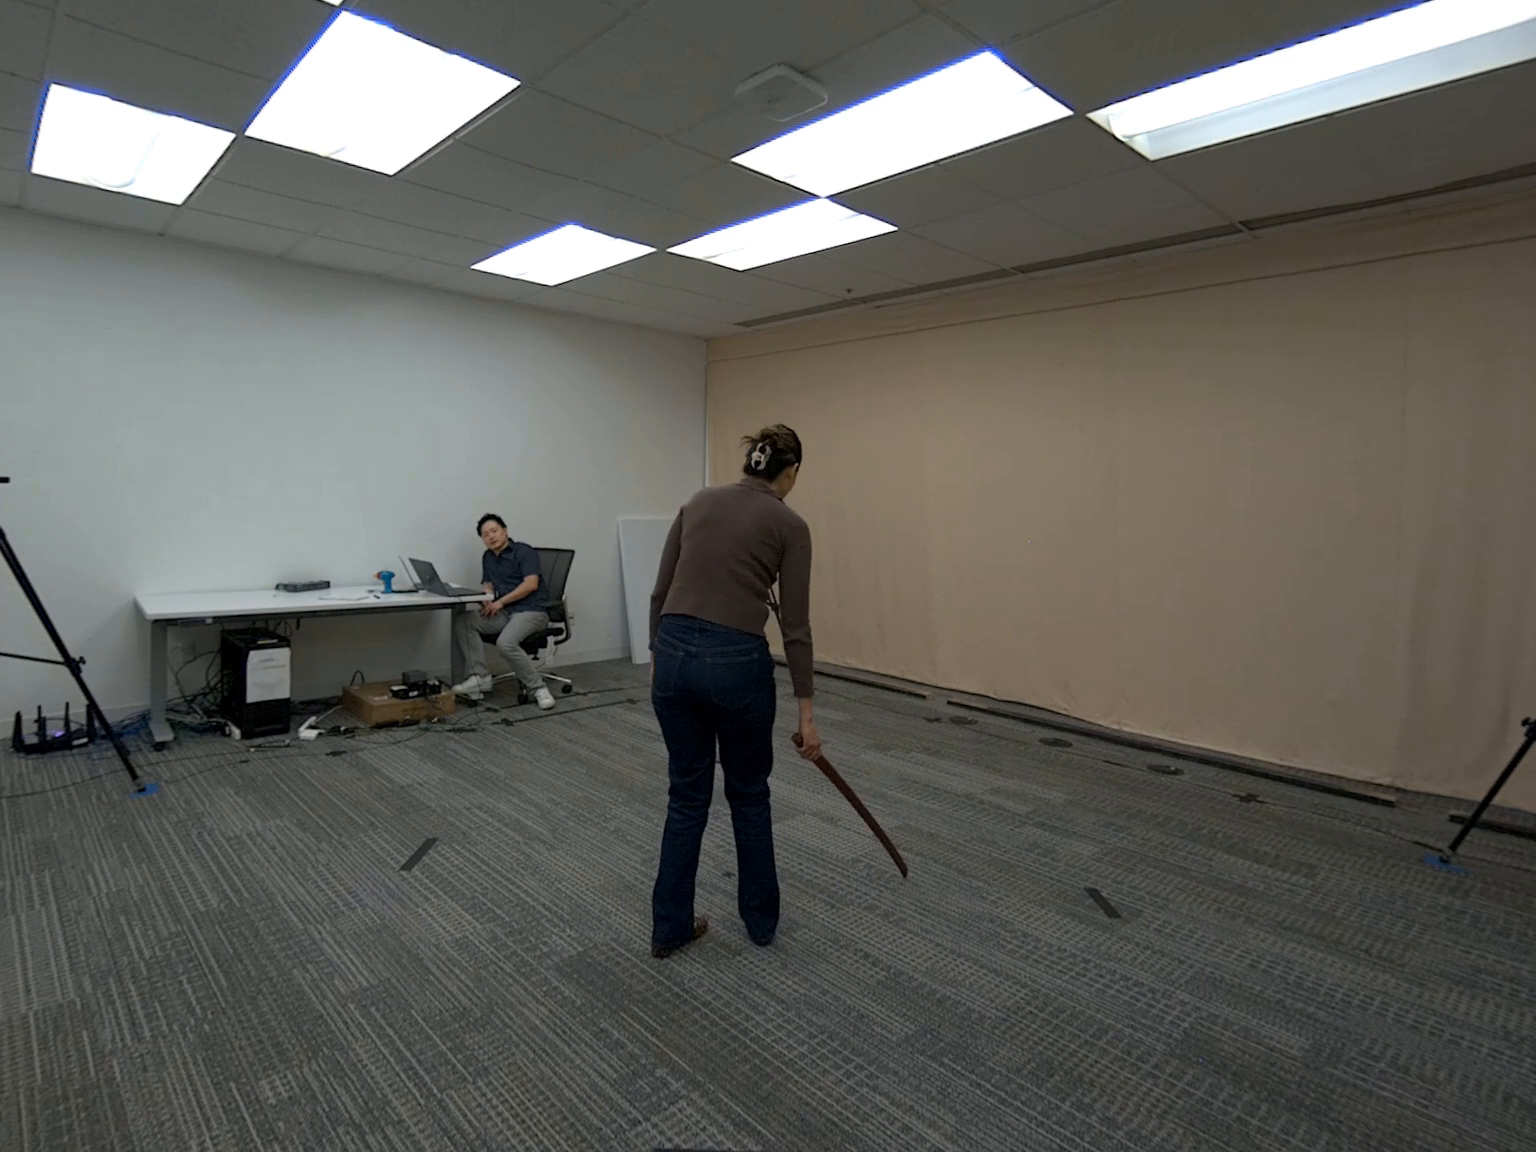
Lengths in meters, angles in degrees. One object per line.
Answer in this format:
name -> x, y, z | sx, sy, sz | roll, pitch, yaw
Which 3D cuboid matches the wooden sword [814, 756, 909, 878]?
wooden sword -> 0.306, 0.793, 2.827 | 0.053, 0.024, 0.993 | 22, -25, 46
